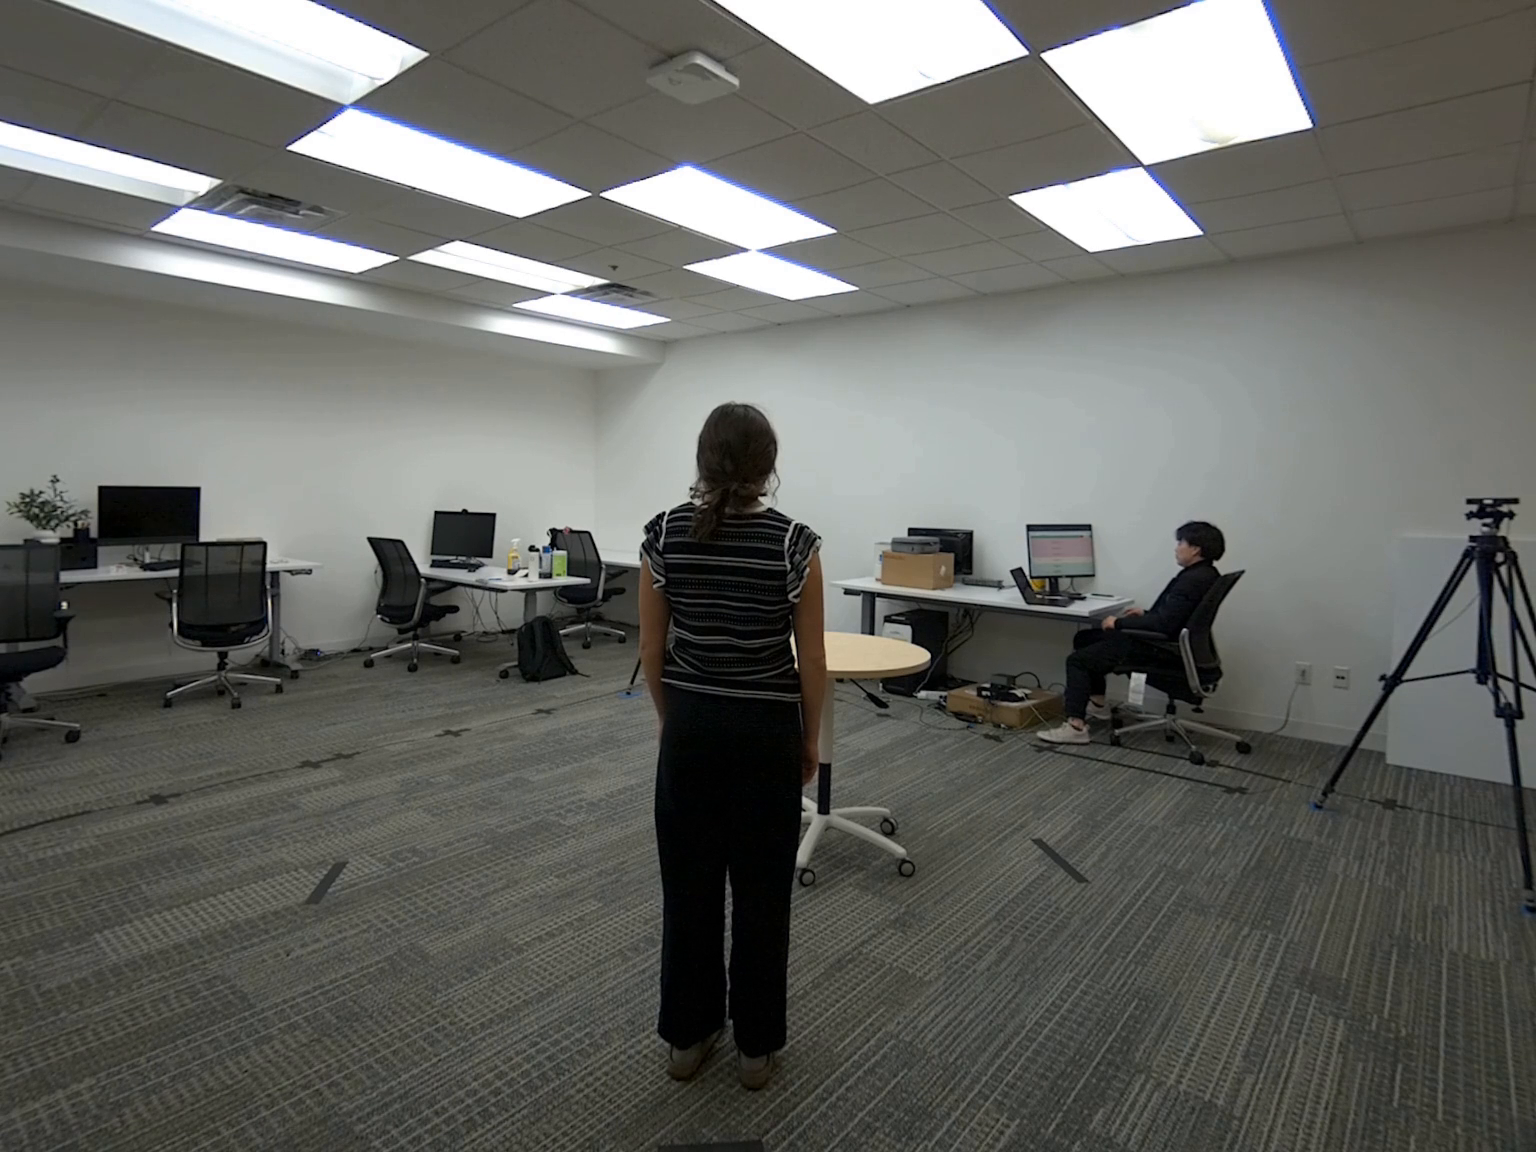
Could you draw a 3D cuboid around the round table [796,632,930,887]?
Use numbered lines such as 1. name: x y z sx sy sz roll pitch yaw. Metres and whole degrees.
1. round table: 0.217 0.670 3.293 0.763 0.791 0.768 1 5 -2
